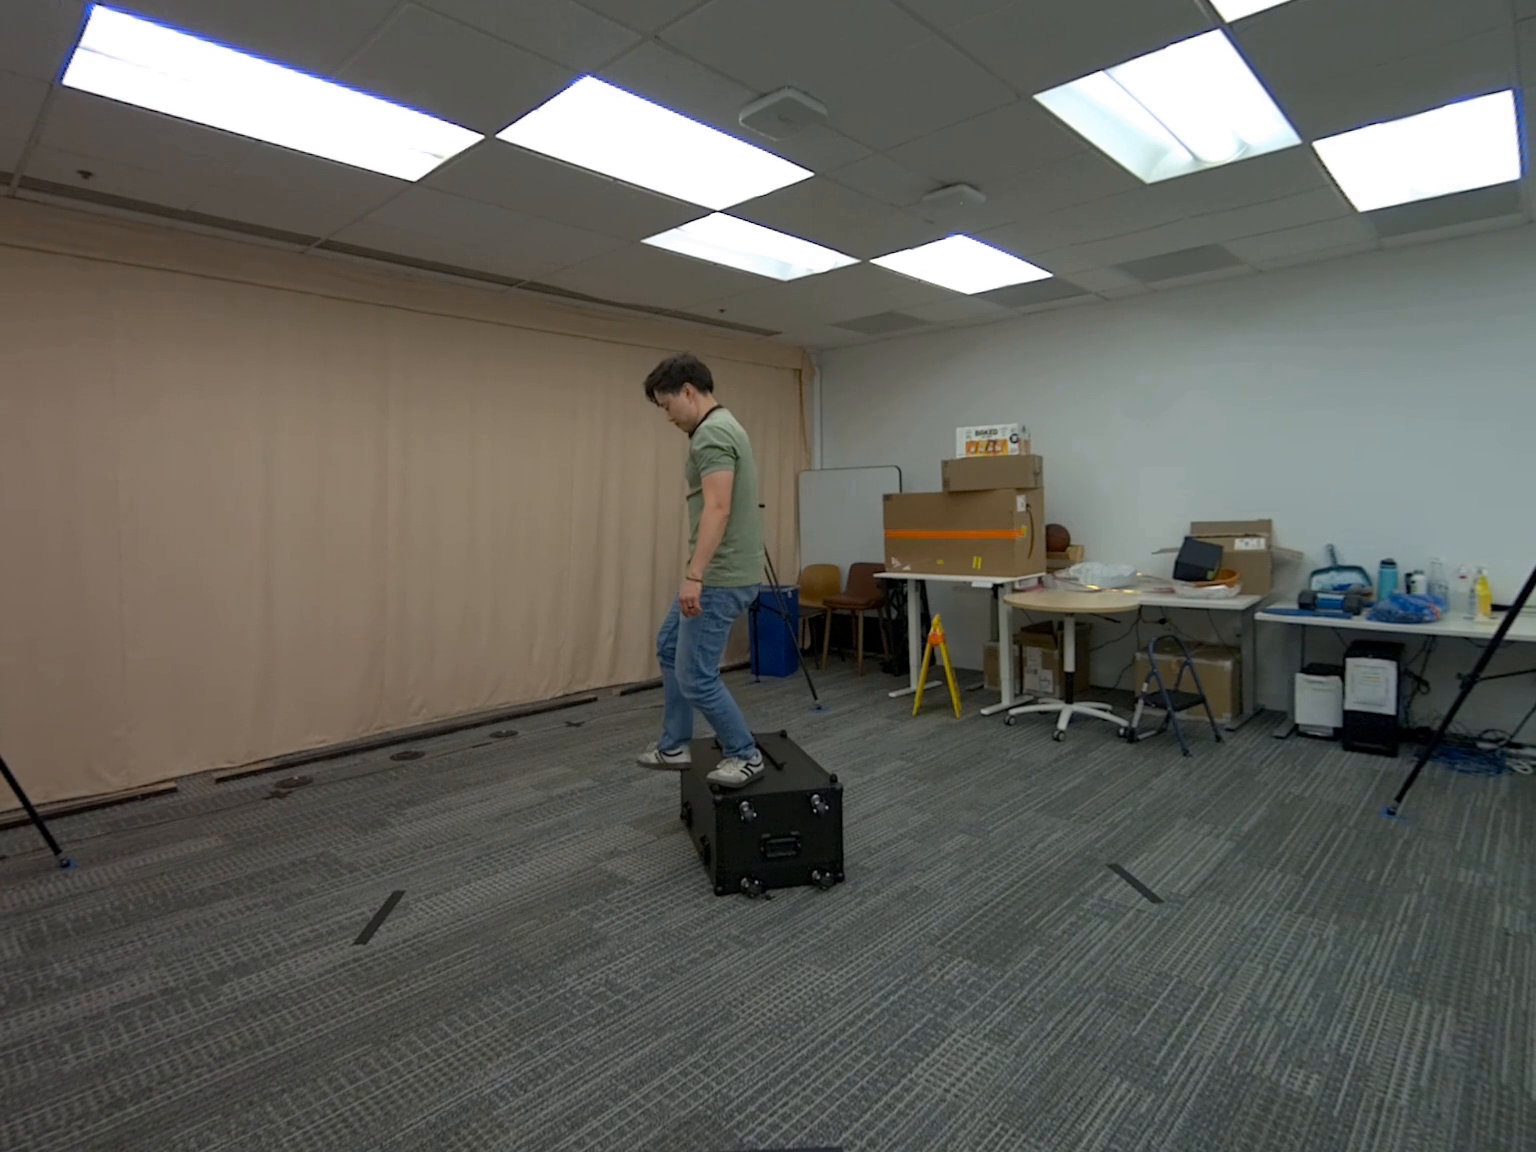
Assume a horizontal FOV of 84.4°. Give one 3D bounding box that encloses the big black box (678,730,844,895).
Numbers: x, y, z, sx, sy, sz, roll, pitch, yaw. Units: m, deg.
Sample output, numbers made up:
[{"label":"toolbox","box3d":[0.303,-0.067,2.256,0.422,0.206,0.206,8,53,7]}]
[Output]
[{"label":"big black box","box3d":[-0.042,0.915,3.382,0.514,0.395,0.877,-3,6,-15]}]
